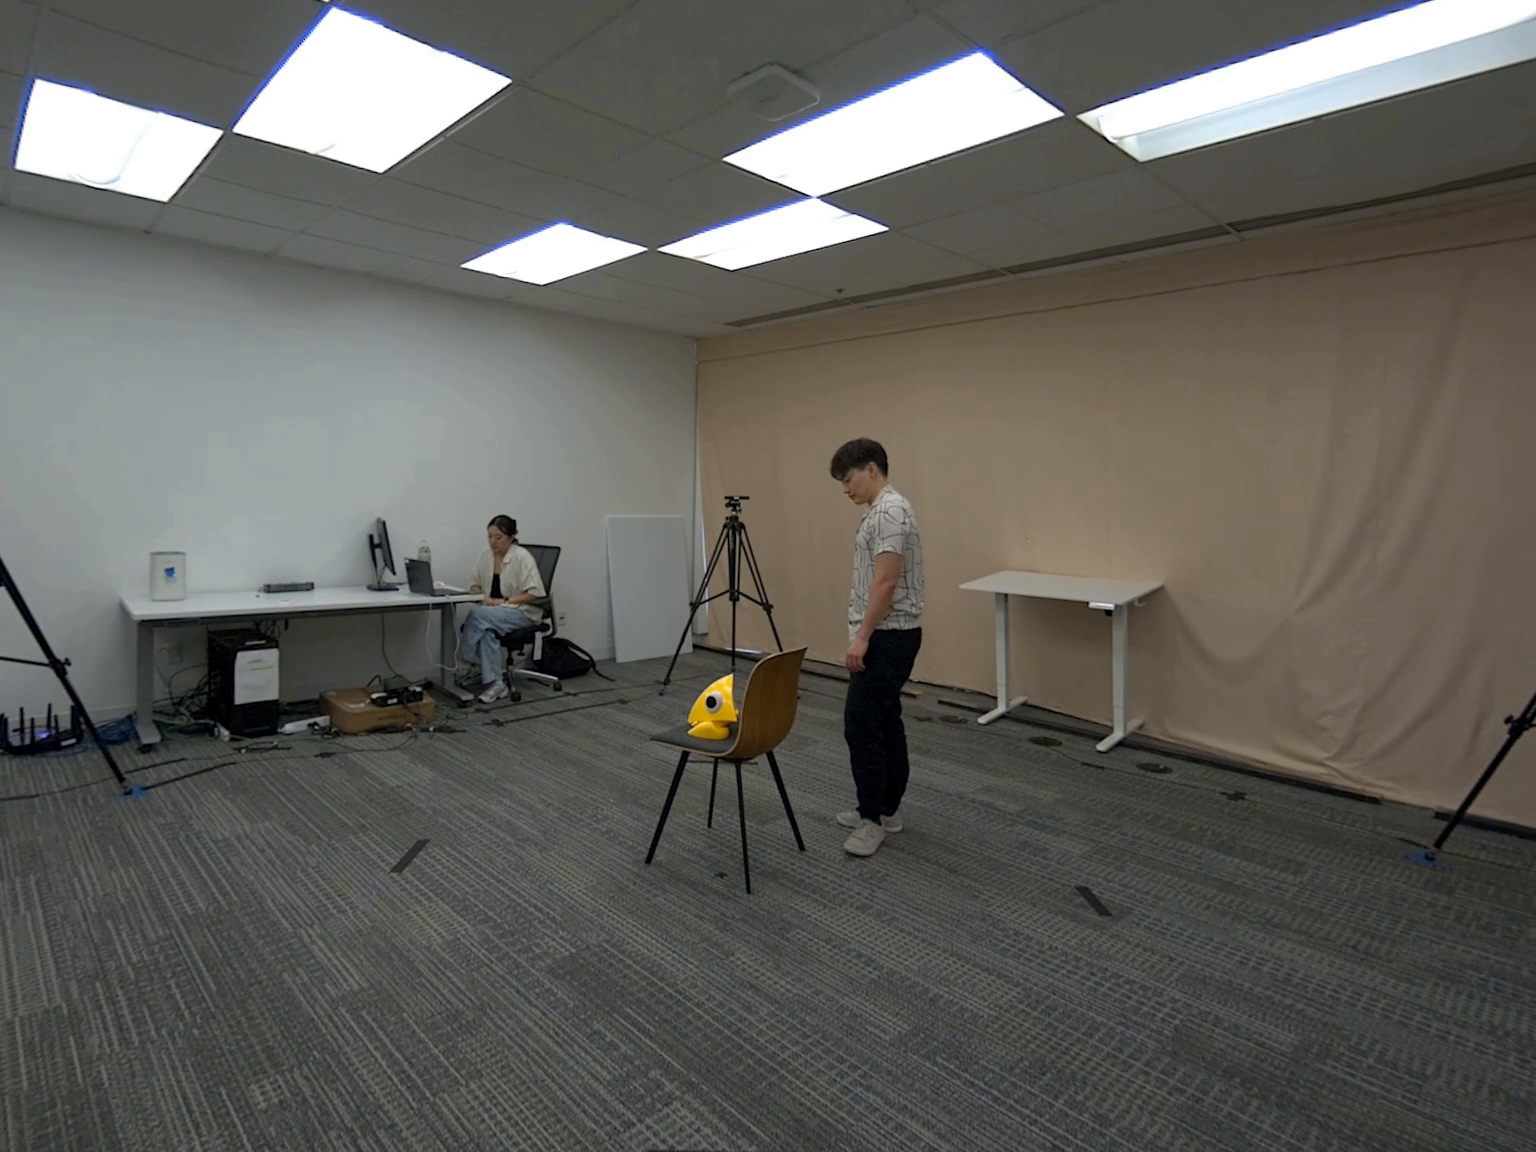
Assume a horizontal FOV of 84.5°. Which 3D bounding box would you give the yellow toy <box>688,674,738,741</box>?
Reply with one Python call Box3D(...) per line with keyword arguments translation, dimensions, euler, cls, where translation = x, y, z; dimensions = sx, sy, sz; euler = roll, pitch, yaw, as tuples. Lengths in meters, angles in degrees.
Box3D(translation=(-0.212, 0.490, 3.278), dimensions=(0.193, 0.229, 0.206), euler=(6, 7, -2), cls="yellow toy")
